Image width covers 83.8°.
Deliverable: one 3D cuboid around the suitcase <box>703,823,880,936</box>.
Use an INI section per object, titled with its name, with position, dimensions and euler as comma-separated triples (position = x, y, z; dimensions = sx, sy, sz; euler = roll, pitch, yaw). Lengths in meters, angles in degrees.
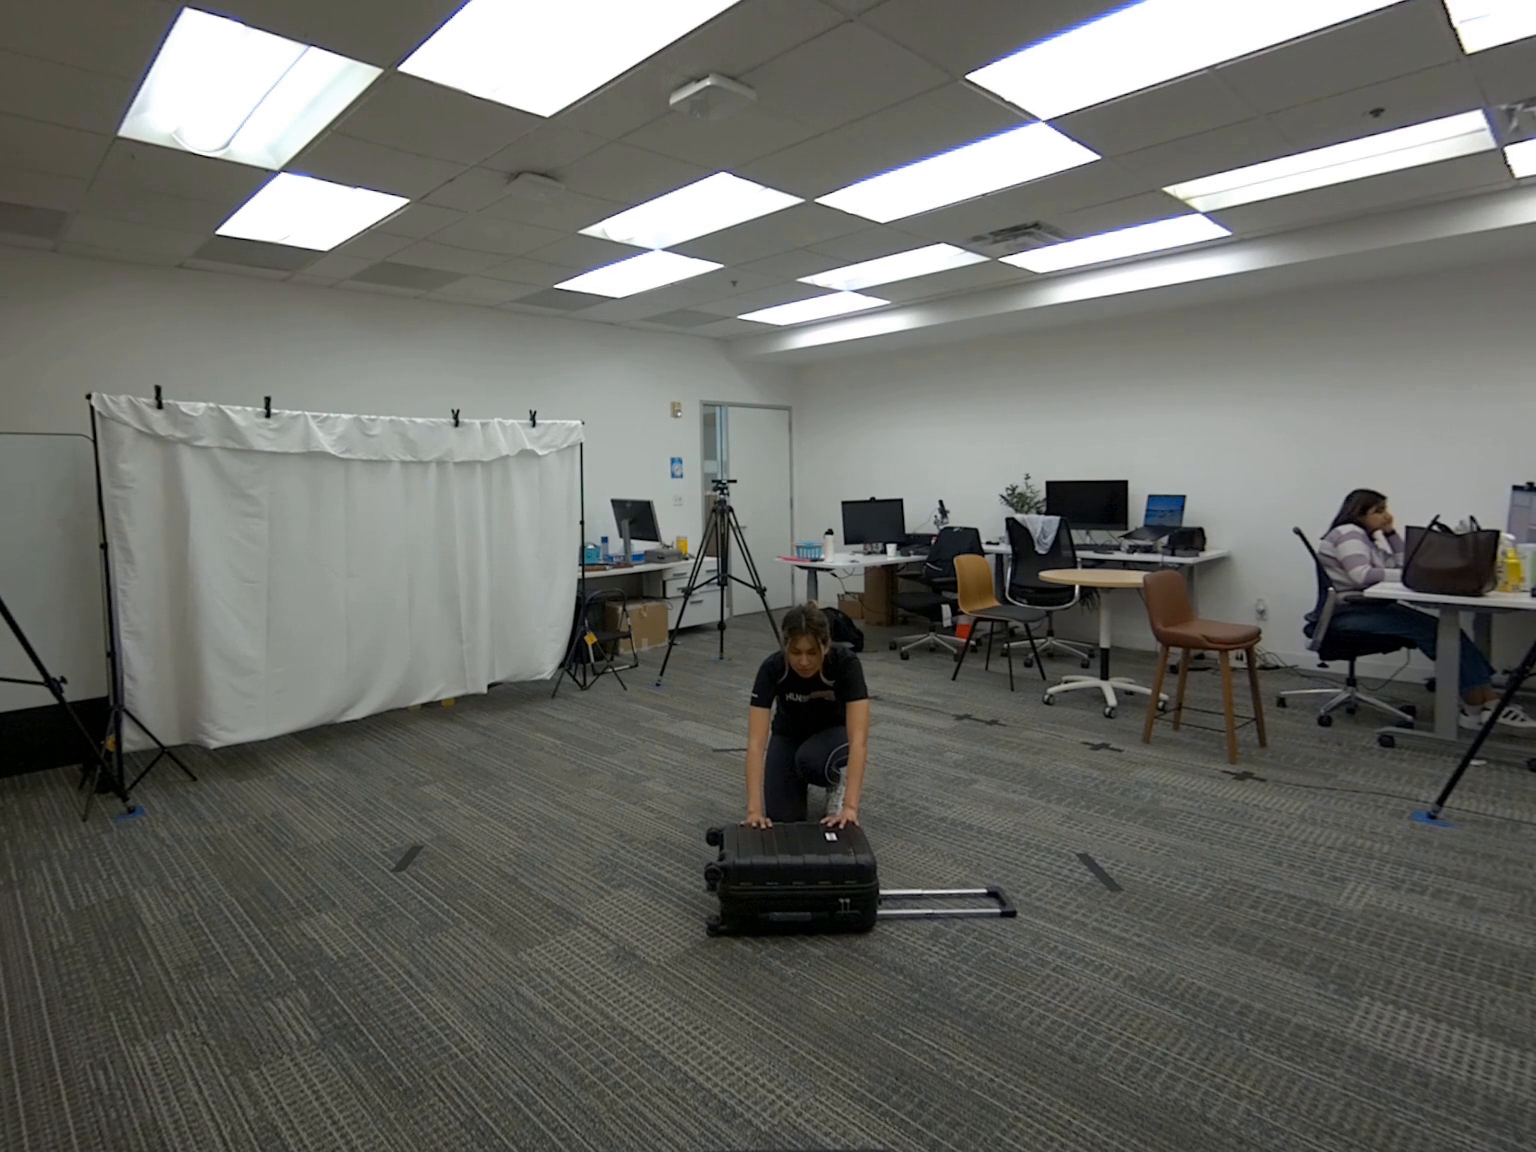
[suitcase]
position = 0.283, 0.960, 2.753
dimensions = 0.979, 0.256, 0.385
euler = -3, 4, 0
